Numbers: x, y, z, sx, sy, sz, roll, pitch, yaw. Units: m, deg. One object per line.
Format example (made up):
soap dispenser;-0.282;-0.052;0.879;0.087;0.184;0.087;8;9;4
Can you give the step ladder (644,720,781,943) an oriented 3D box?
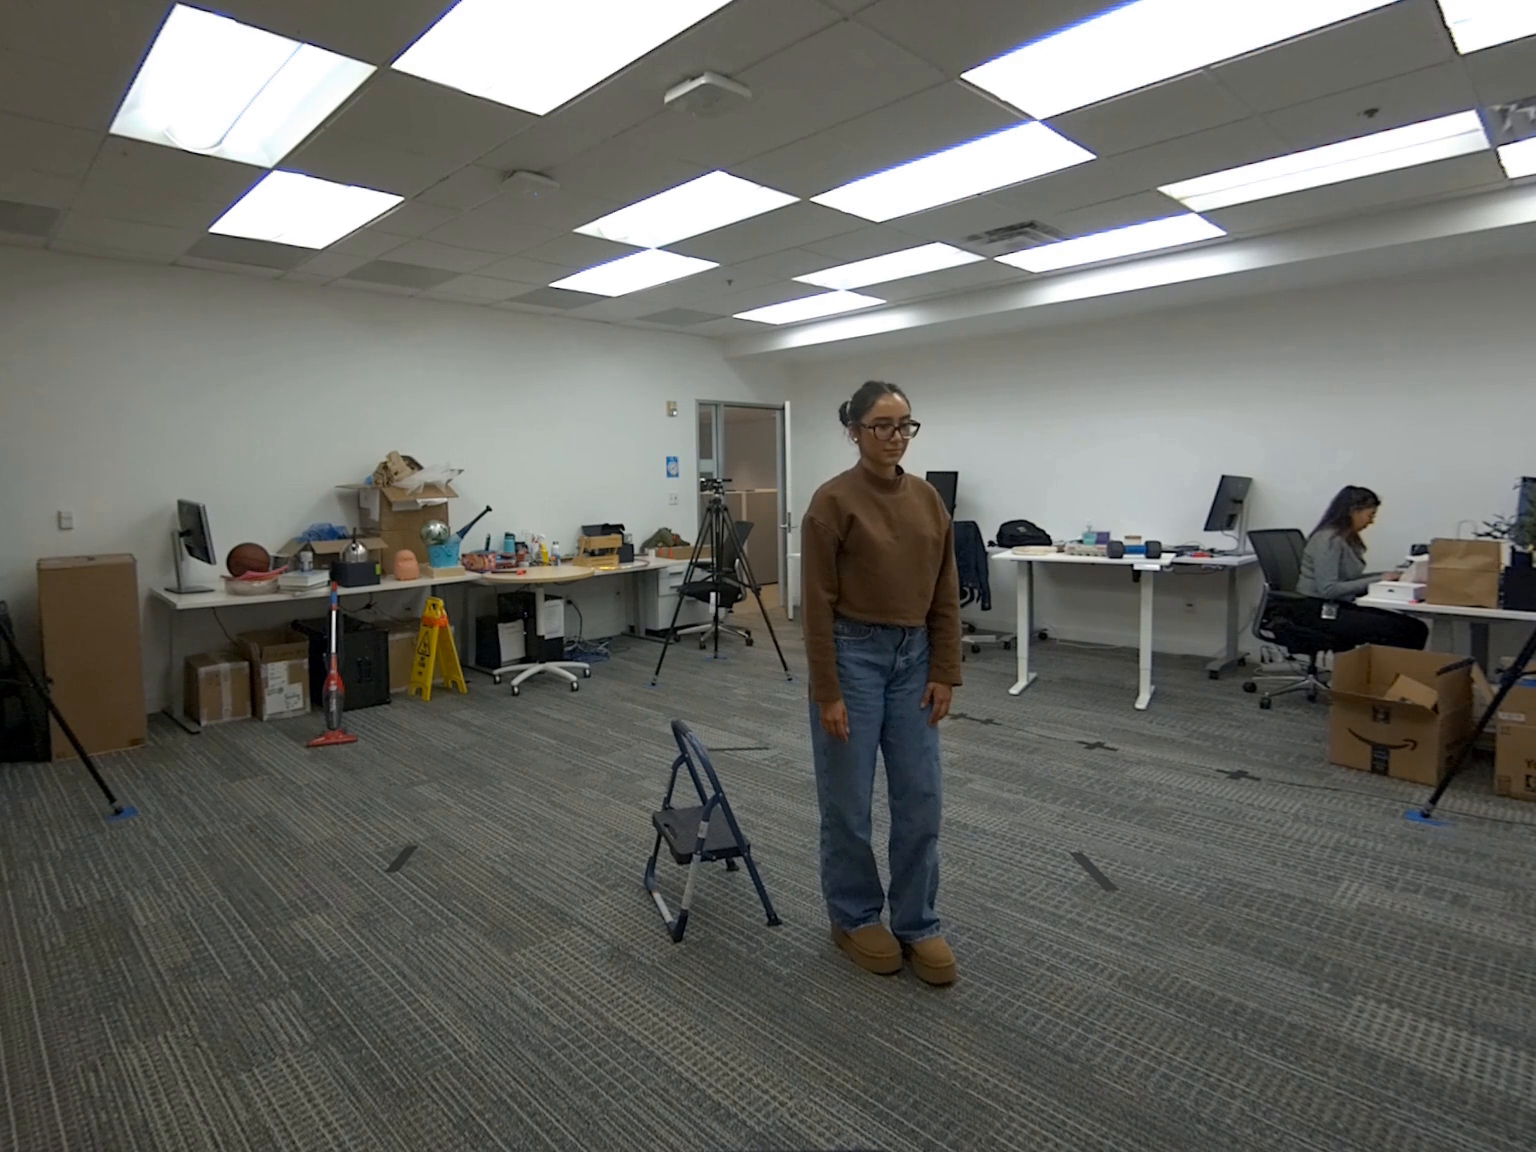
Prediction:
step ladder;-0.197;0.780;2.805;0.343;0.604;0.440;-2;5;-21
